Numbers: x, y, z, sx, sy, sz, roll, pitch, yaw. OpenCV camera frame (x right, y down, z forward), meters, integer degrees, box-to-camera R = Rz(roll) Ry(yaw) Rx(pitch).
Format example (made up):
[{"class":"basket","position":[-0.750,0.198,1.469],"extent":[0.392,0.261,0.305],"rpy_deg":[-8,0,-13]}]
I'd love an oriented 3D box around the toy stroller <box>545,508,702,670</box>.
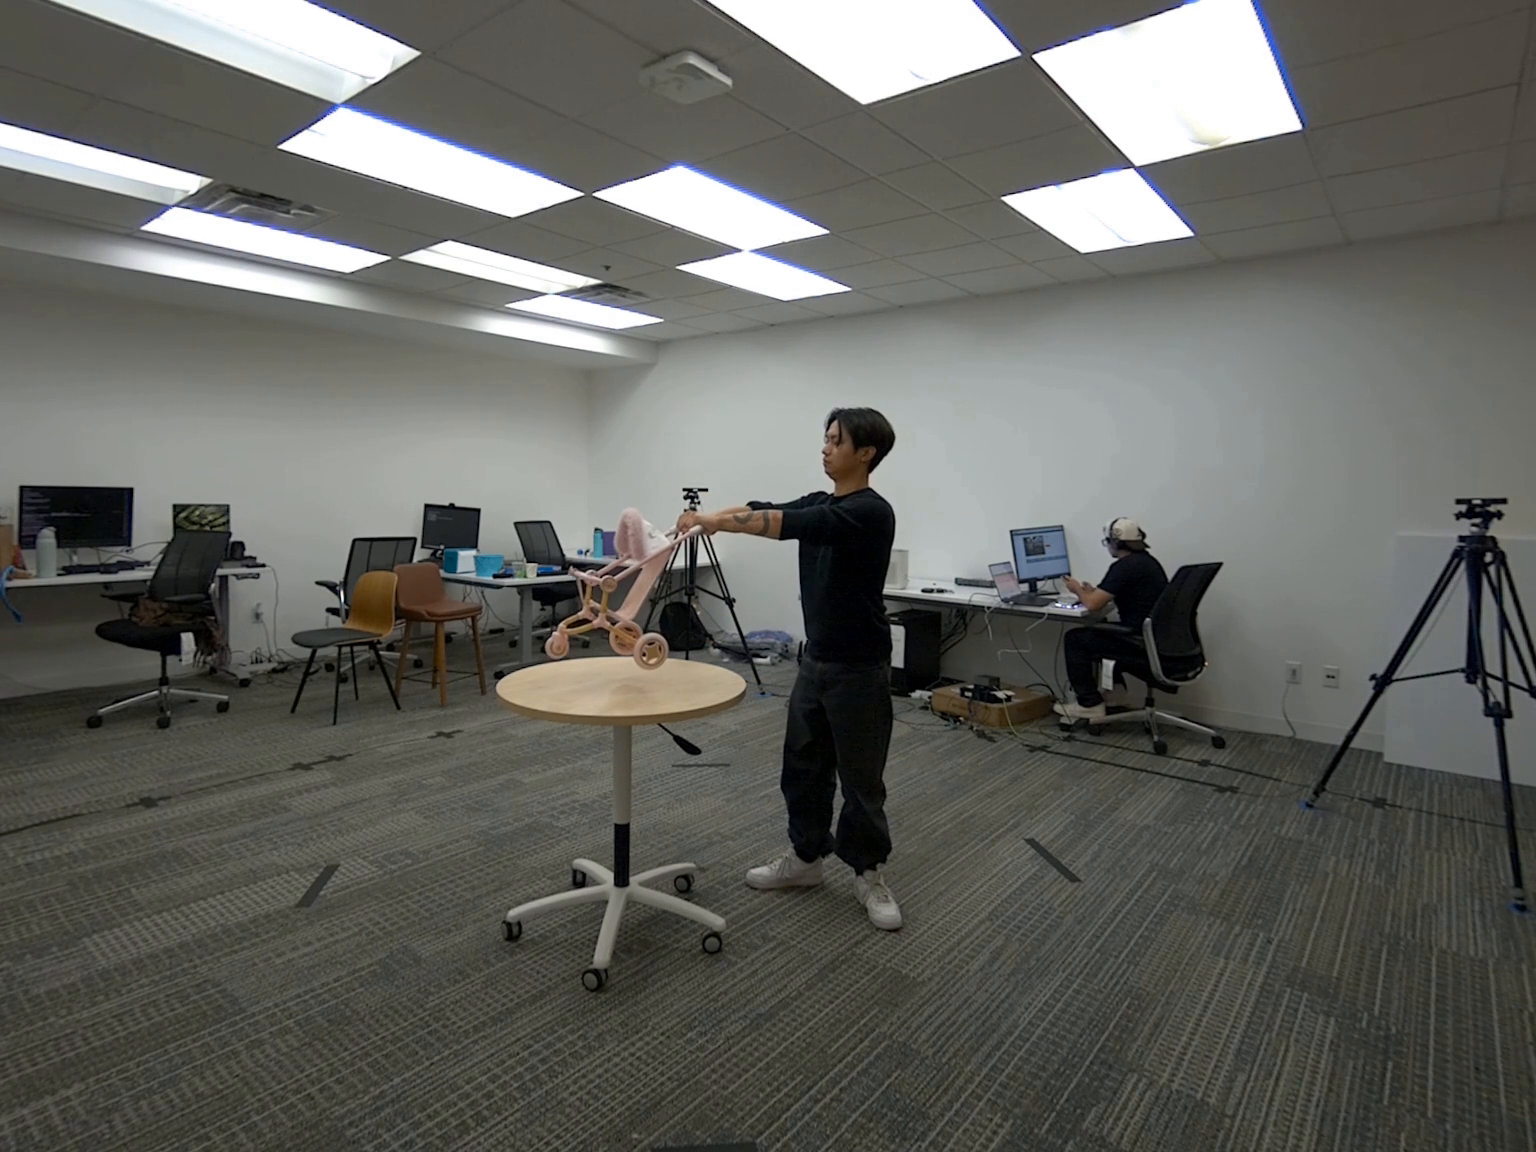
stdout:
[{"class":"toy stroller","position":[-0.460,0.030,2.614],"extent":[0.333,0.536,0.287],"rpy_deg":[19,-3,-19]}]
